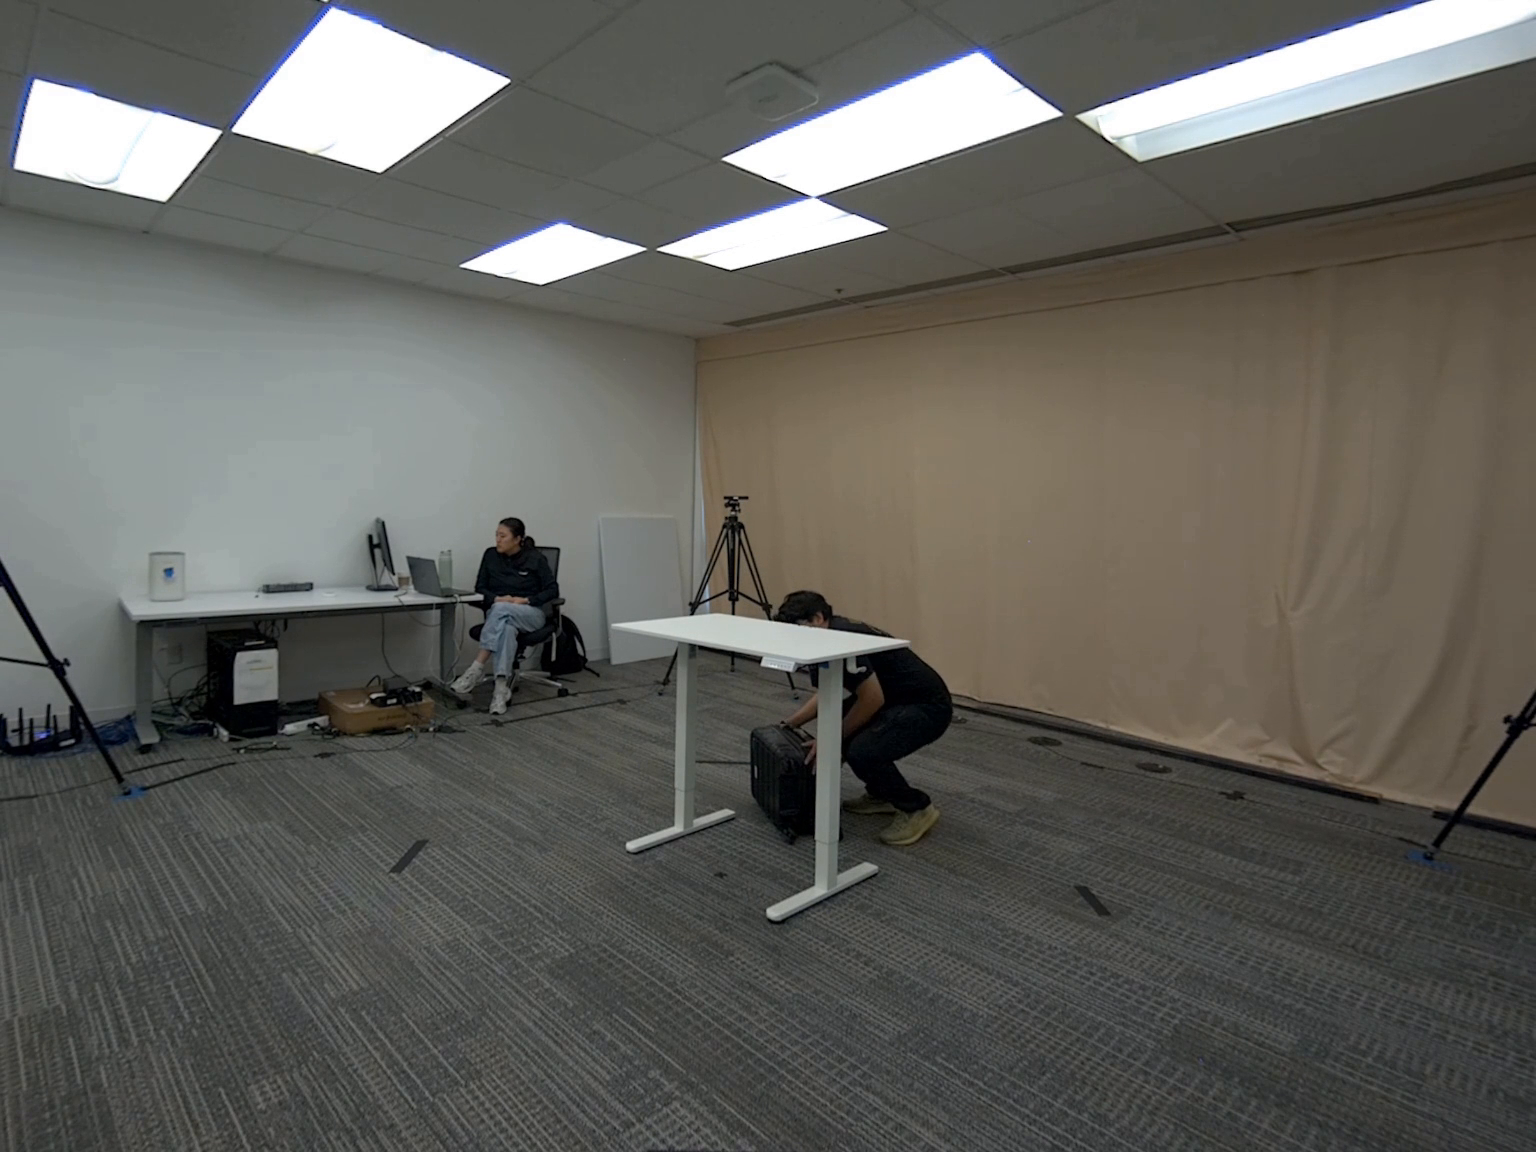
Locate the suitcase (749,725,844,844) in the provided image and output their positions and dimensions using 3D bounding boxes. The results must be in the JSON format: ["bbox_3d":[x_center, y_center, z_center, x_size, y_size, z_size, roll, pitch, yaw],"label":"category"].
[{"bbox_3d":[0.096,0.864,3.661,0.245,0.374,0.558,-3,5,-18],"label":"suitcase"}]
